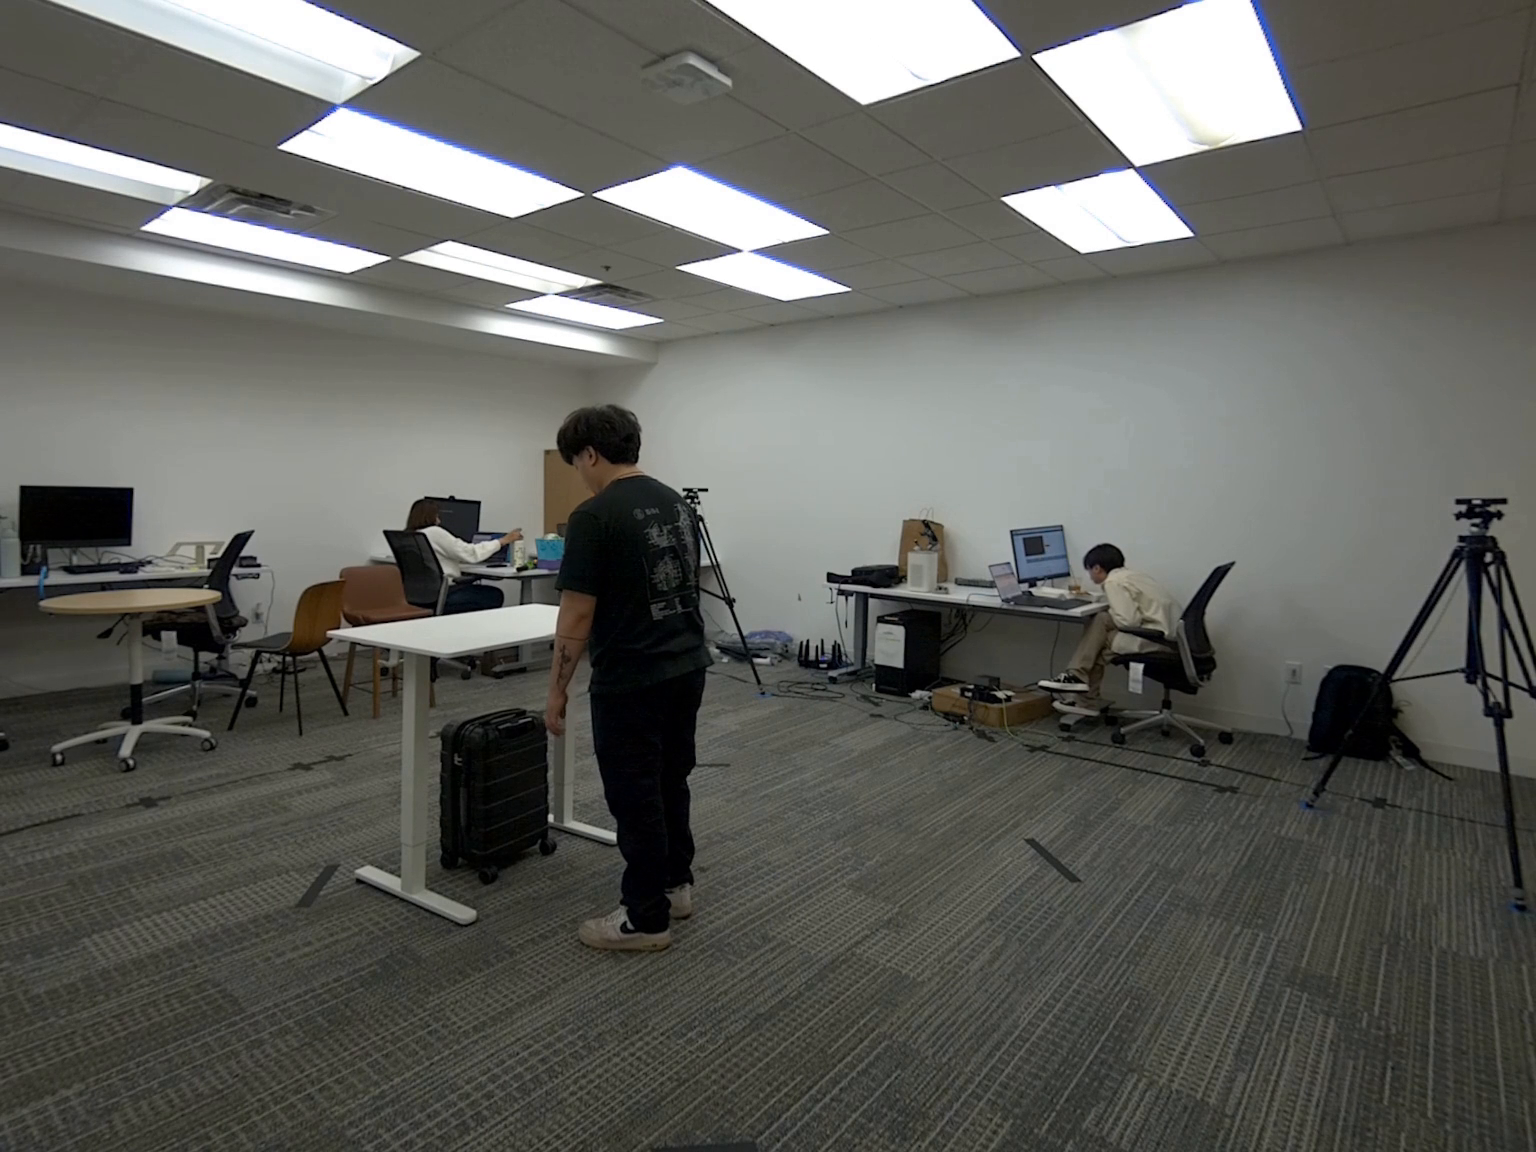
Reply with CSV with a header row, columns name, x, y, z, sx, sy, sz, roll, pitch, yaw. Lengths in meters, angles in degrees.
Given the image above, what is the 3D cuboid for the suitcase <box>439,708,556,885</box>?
name,x,y,z,sx,sy,sz,roll,pitch,yaw
suitcase,-1.027,0.779,3.150,0.256,0.548,0.365,0,3,33
